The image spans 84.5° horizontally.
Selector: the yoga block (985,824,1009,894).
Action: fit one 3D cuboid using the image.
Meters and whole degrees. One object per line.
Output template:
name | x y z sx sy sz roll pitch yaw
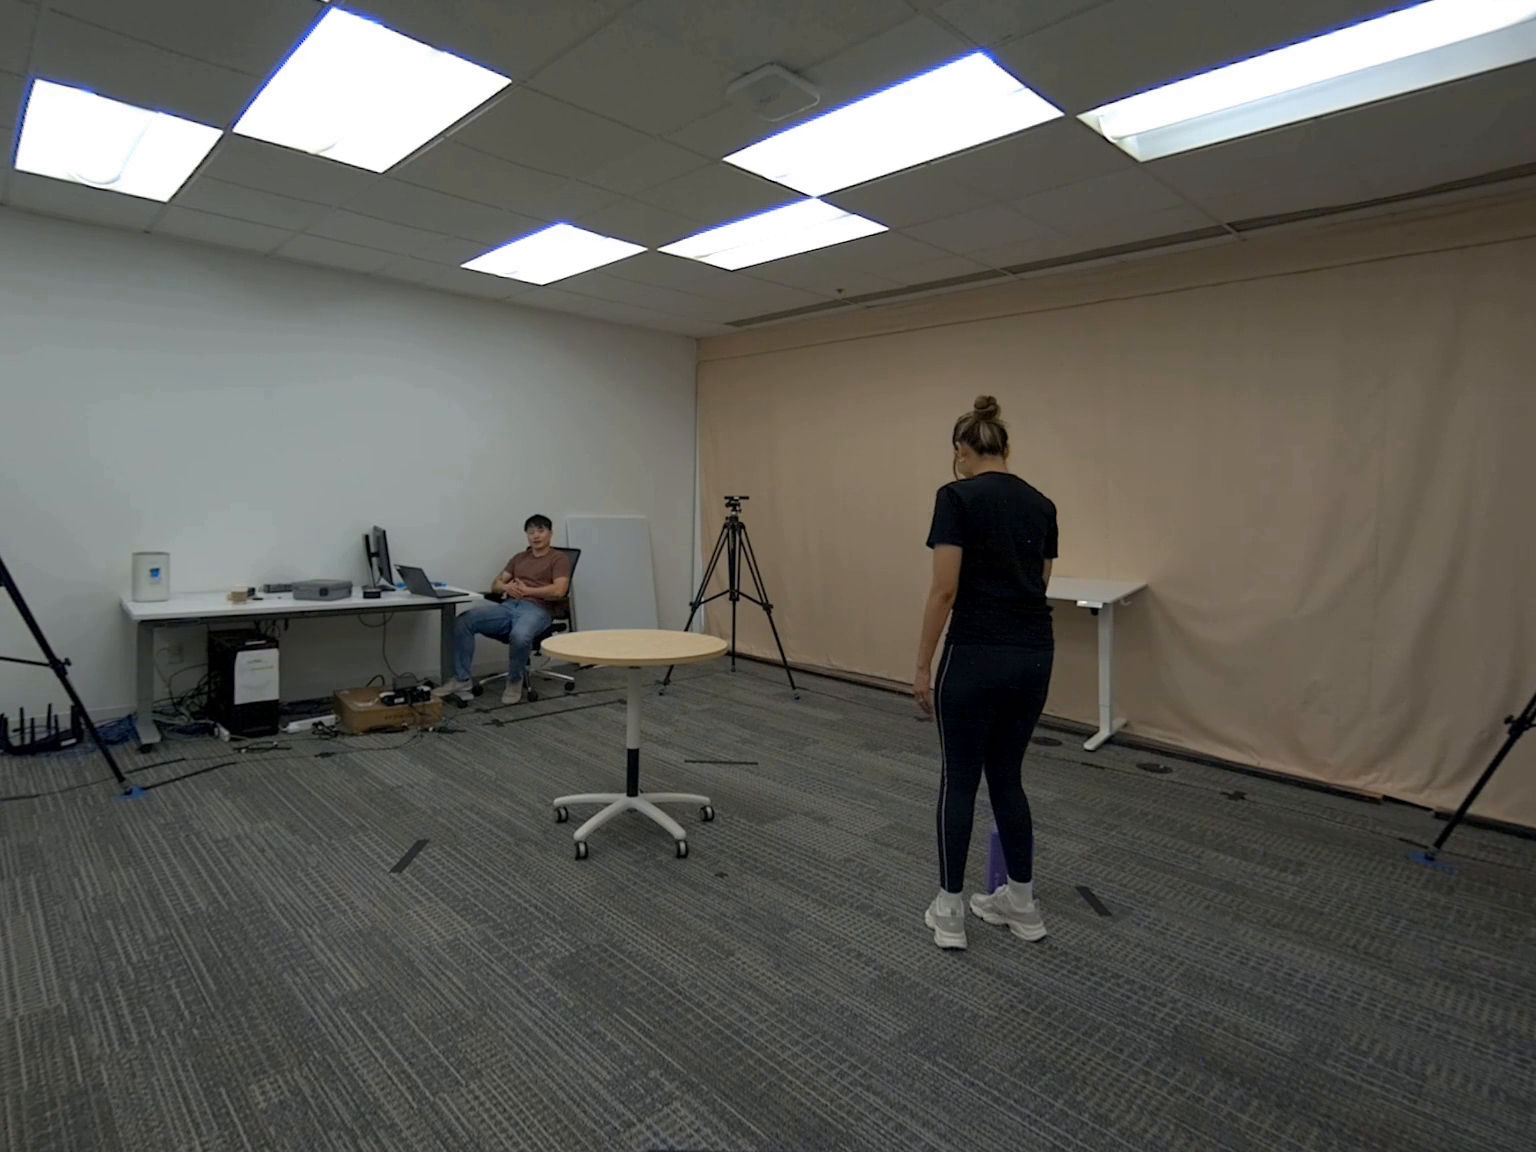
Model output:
yoga block | 0.867 1.026 3.021 0.150 0.229 0.076 6 2 6
